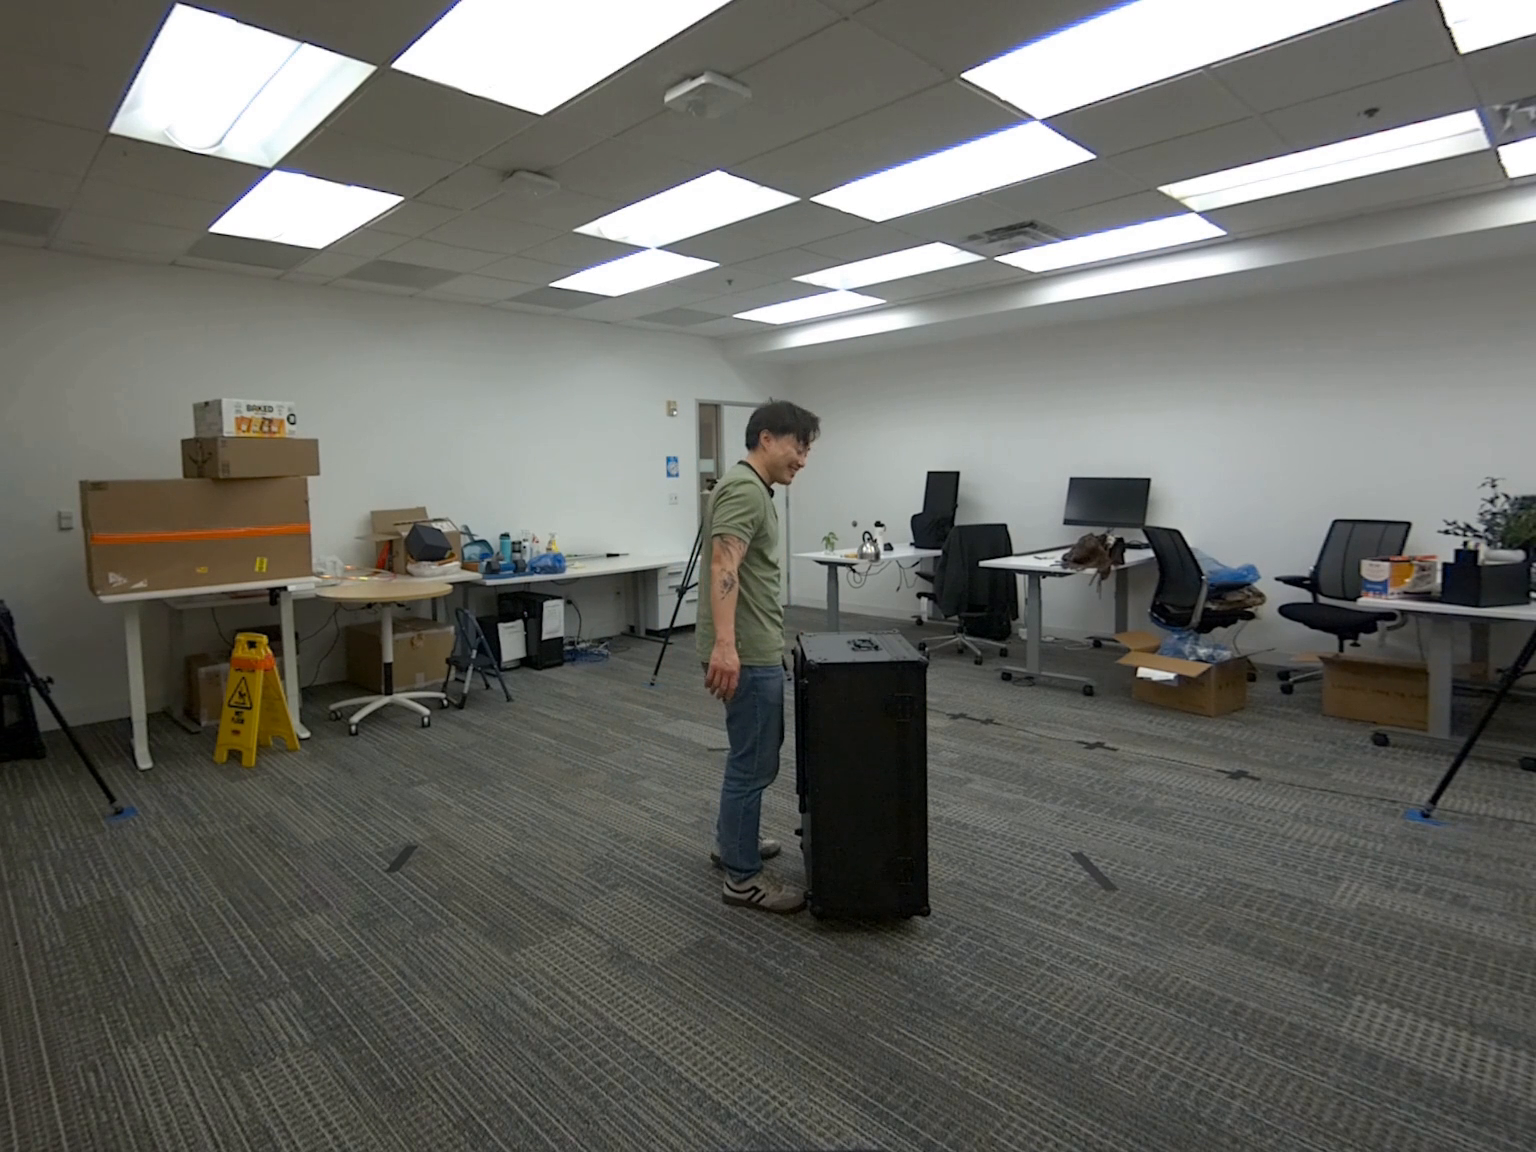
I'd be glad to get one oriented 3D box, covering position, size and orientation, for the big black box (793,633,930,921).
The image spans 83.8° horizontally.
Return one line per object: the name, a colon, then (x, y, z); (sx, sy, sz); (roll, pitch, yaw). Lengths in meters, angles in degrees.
big black box: (0.291, 0.647, 2.785); (0.397, 0.858, 0.522); (-1, 4, 1)
